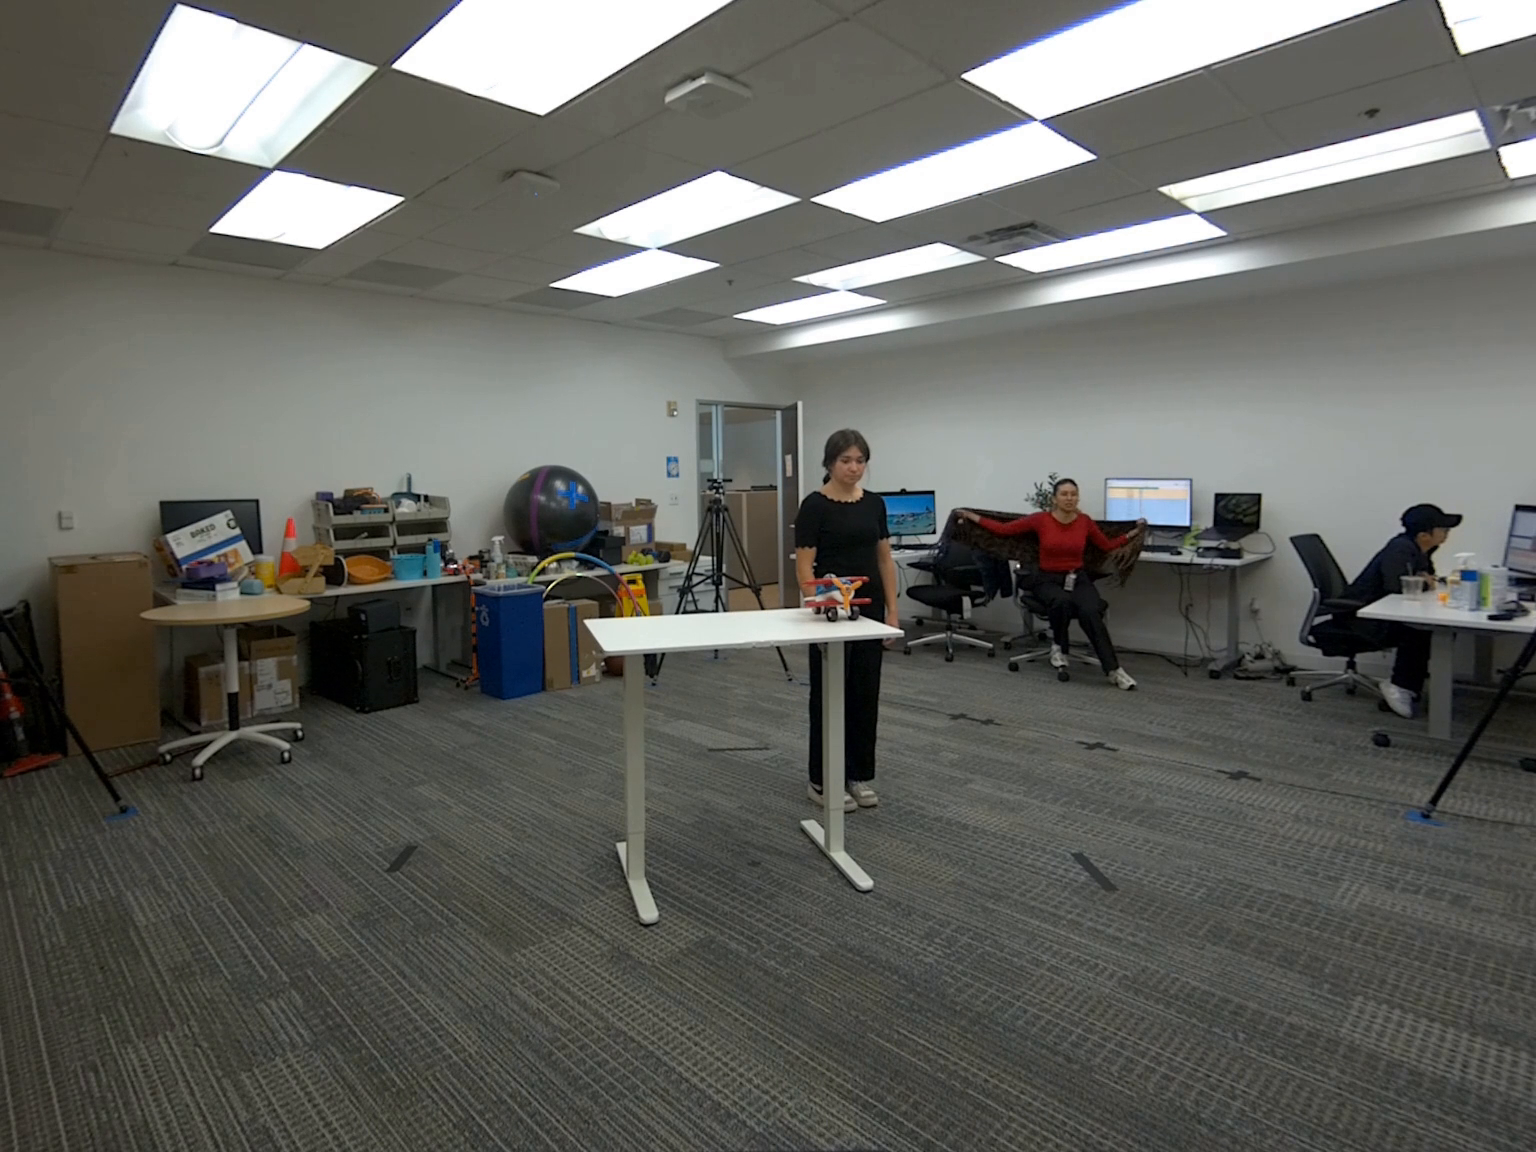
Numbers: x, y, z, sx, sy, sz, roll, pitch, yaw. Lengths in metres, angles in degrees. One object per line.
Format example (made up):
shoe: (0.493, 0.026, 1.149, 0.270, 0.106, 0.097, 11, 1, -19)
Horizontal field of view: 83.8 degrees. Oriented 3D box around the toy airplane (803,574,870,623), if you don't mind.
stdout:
toy airplane: (0.223, 0.078, 3.151, 0.267, 0.156, 0.244, 6, 7, 43)
